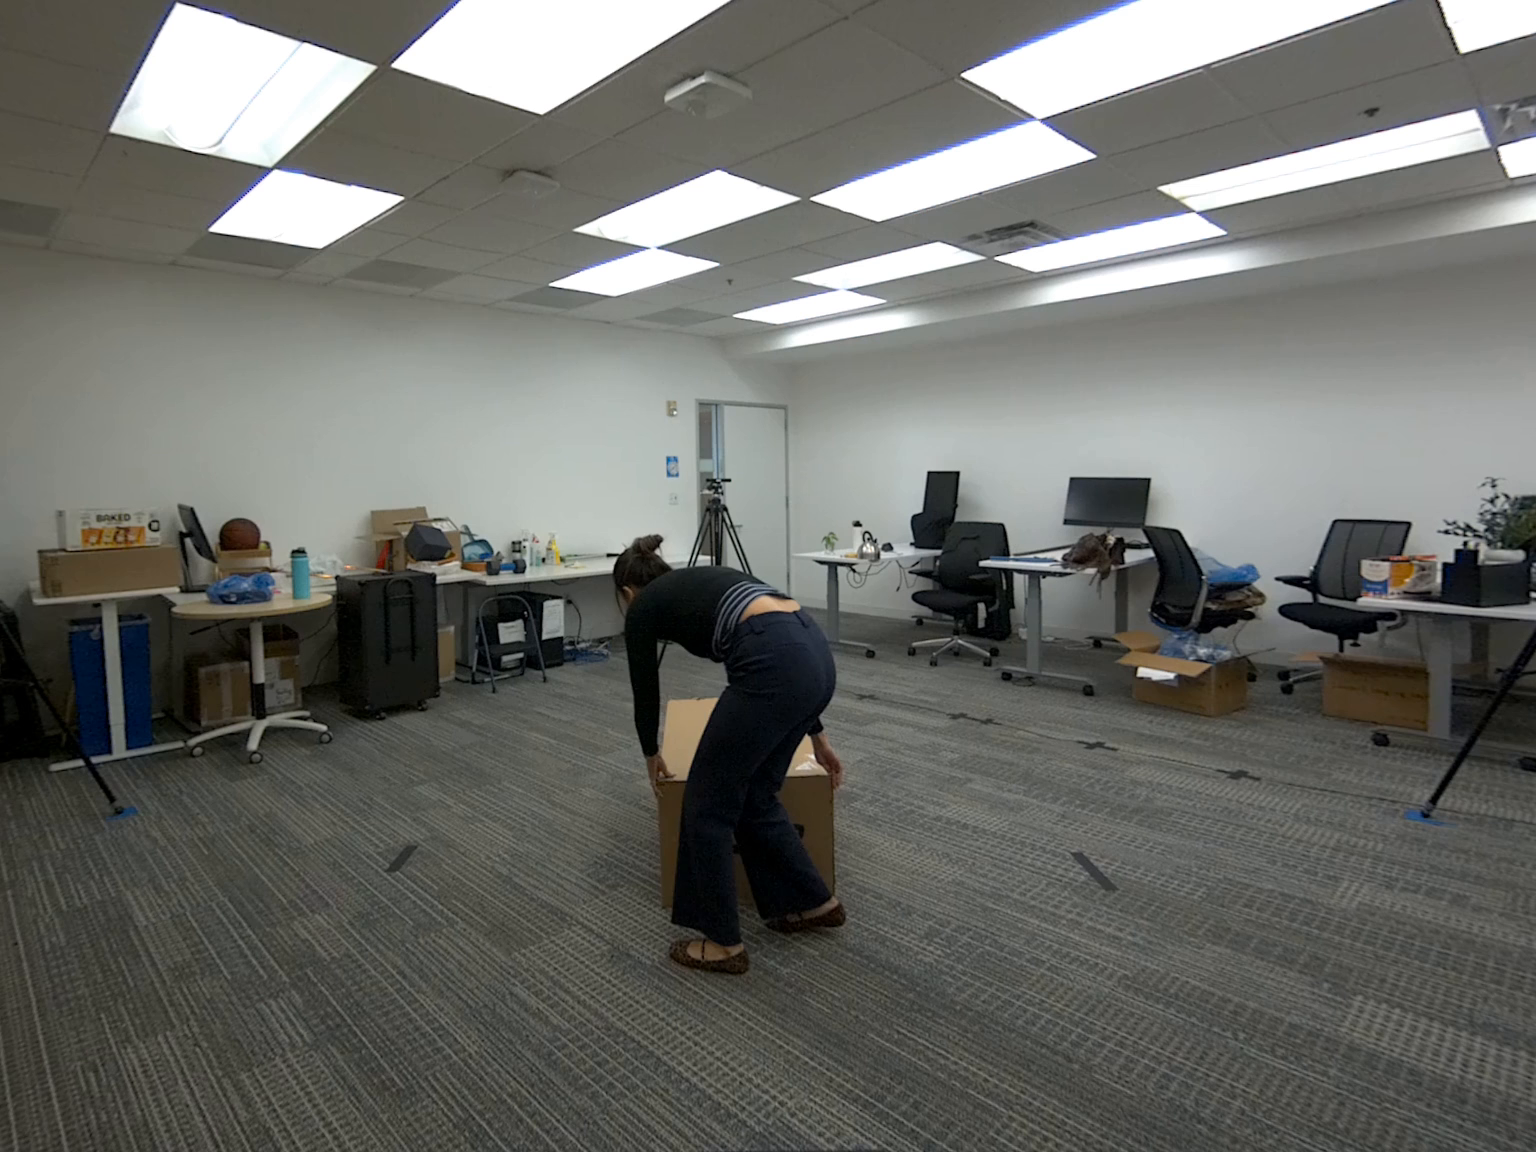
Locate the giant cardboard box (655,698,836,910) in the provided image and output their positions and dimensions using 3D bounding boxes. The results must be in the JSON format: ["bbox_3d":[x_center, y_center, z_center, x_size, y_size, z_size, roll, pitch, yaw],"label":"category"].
[{"bbox_3d":[-0.112,0.808,3.299,0.575,0.424,1.034,-1,6,-5],"label":"giant cardboard box"}]
